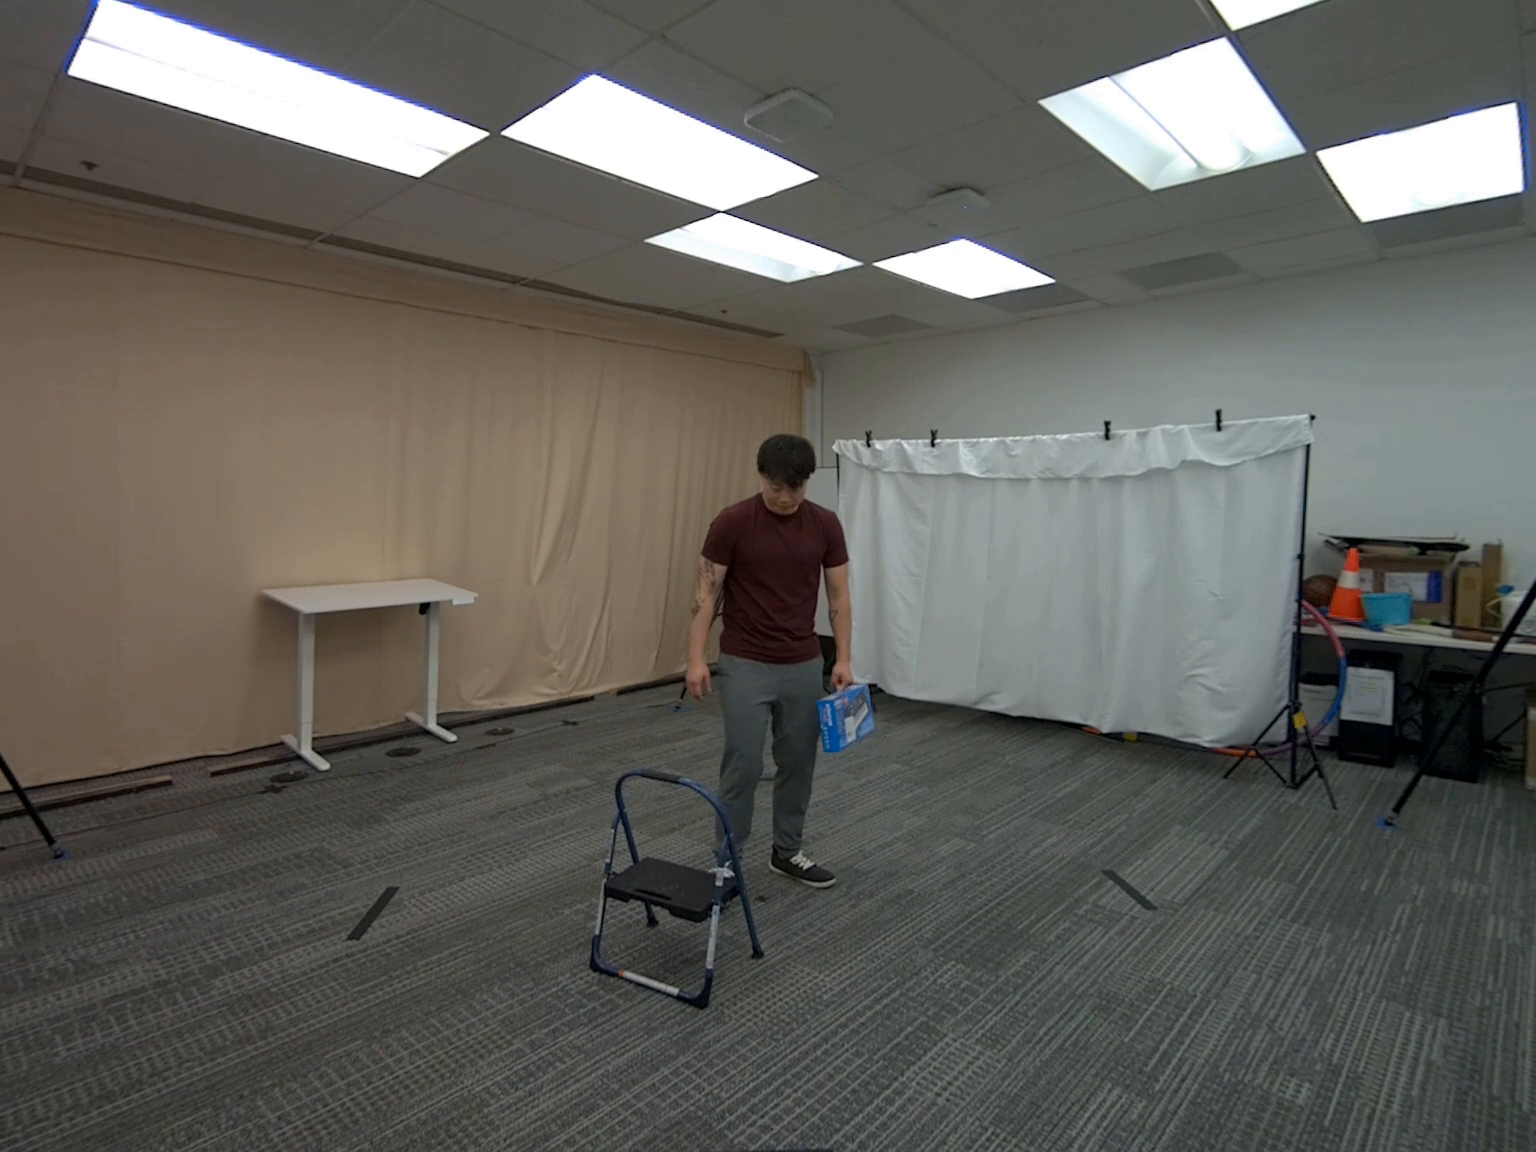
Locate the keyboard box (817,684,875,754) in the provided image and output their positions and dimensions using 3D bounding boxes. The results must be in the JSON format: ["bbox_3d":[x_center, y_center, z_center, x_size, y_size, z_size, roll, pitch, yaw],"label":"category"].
[{"bbox_3d":[0.273,0.497,3.002,0.060,0.176,0.427,-9,-3,21],"label":"keyboard box"}]
